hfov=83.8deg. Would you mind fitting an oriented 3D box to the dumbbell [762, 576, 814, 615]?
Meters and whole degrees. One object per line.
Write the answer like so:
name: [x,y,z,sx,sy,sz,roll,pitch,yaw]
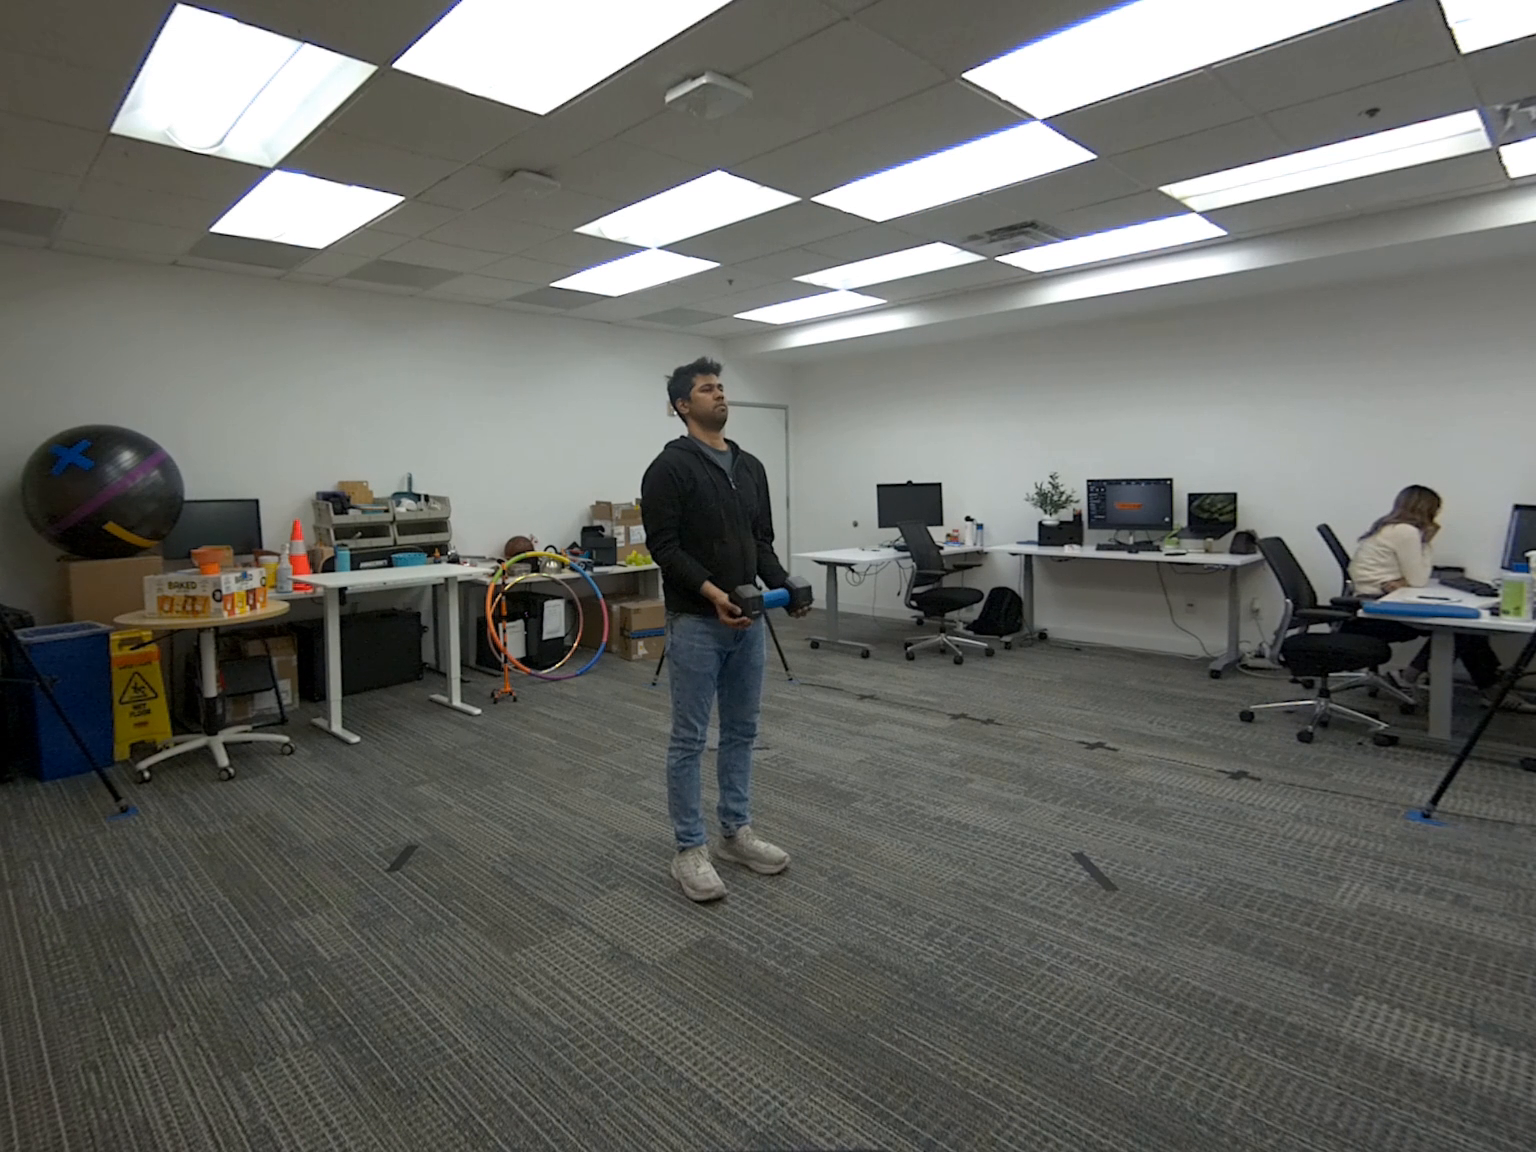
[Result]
dumbbell: [-0.001,0.071,2.816,0.286,0.123,0.111,-9,2,-37]
